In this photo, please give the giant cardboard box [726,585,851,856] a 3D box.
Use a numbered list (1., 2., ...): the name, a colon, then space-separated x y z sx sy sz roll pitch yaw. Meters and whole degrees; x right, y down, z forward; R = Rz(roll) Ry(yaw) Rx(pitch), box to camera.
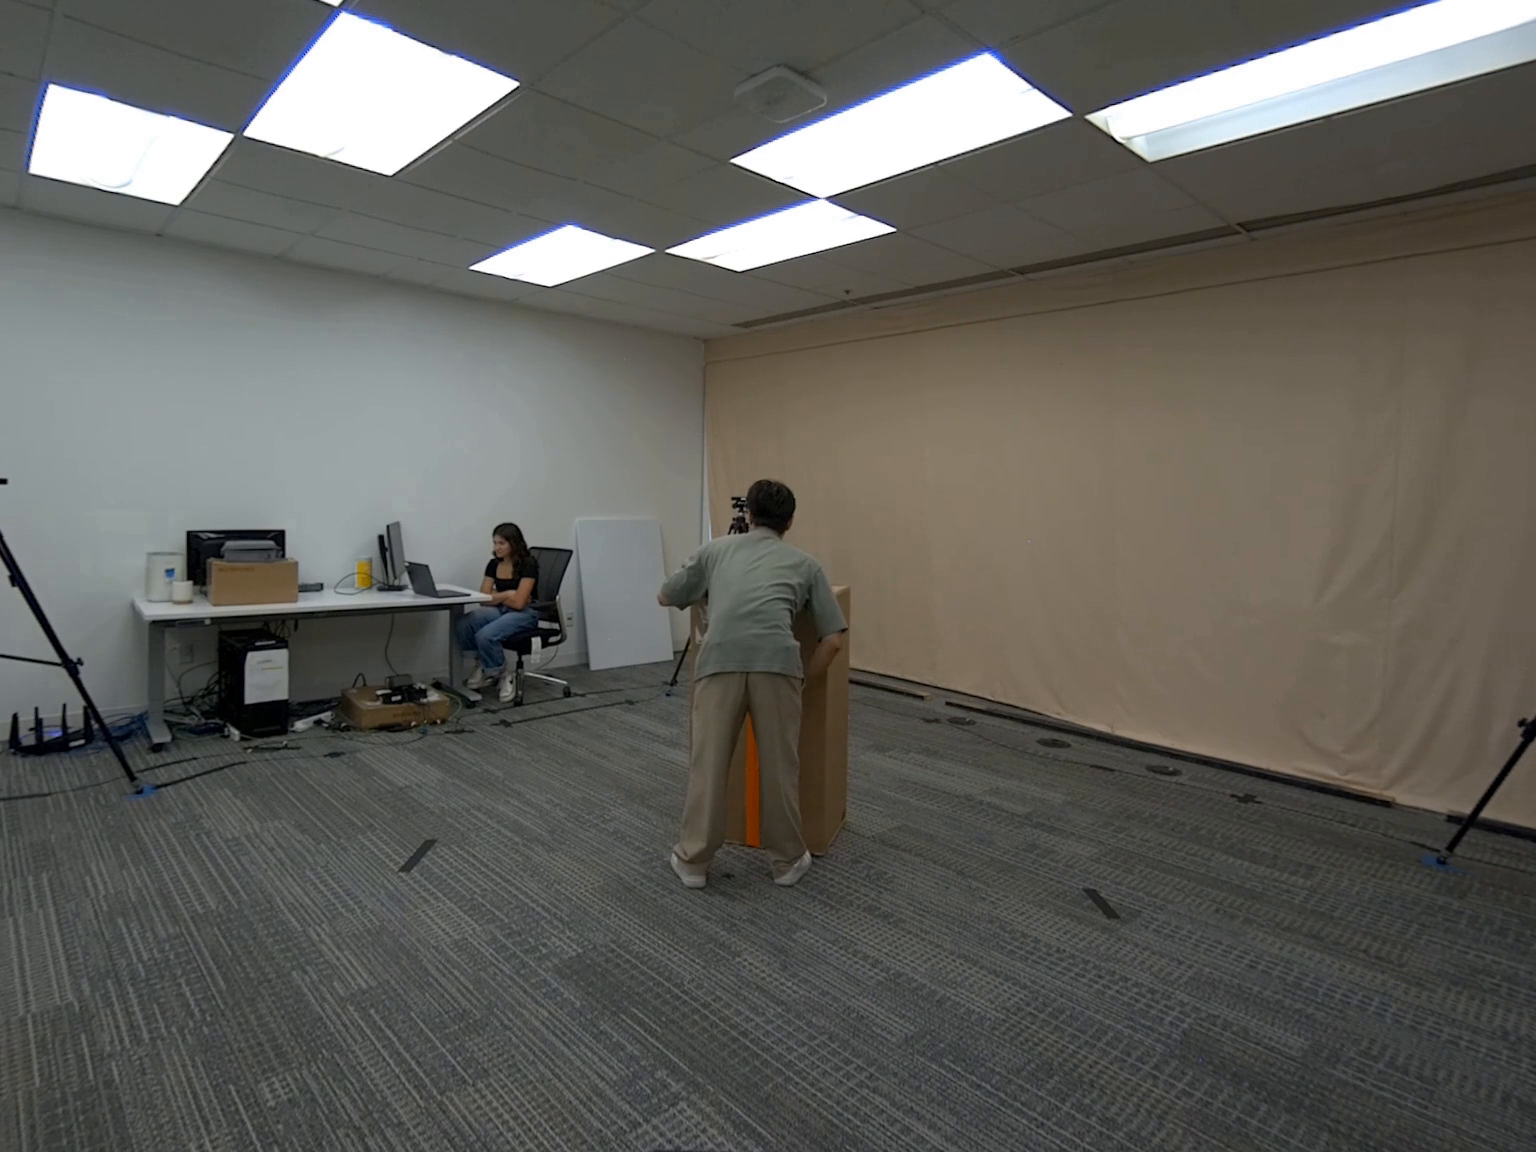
1. giant cardboard box: 0.011 0.557 3.544 0.587 1.023 0.420 2 4 19
